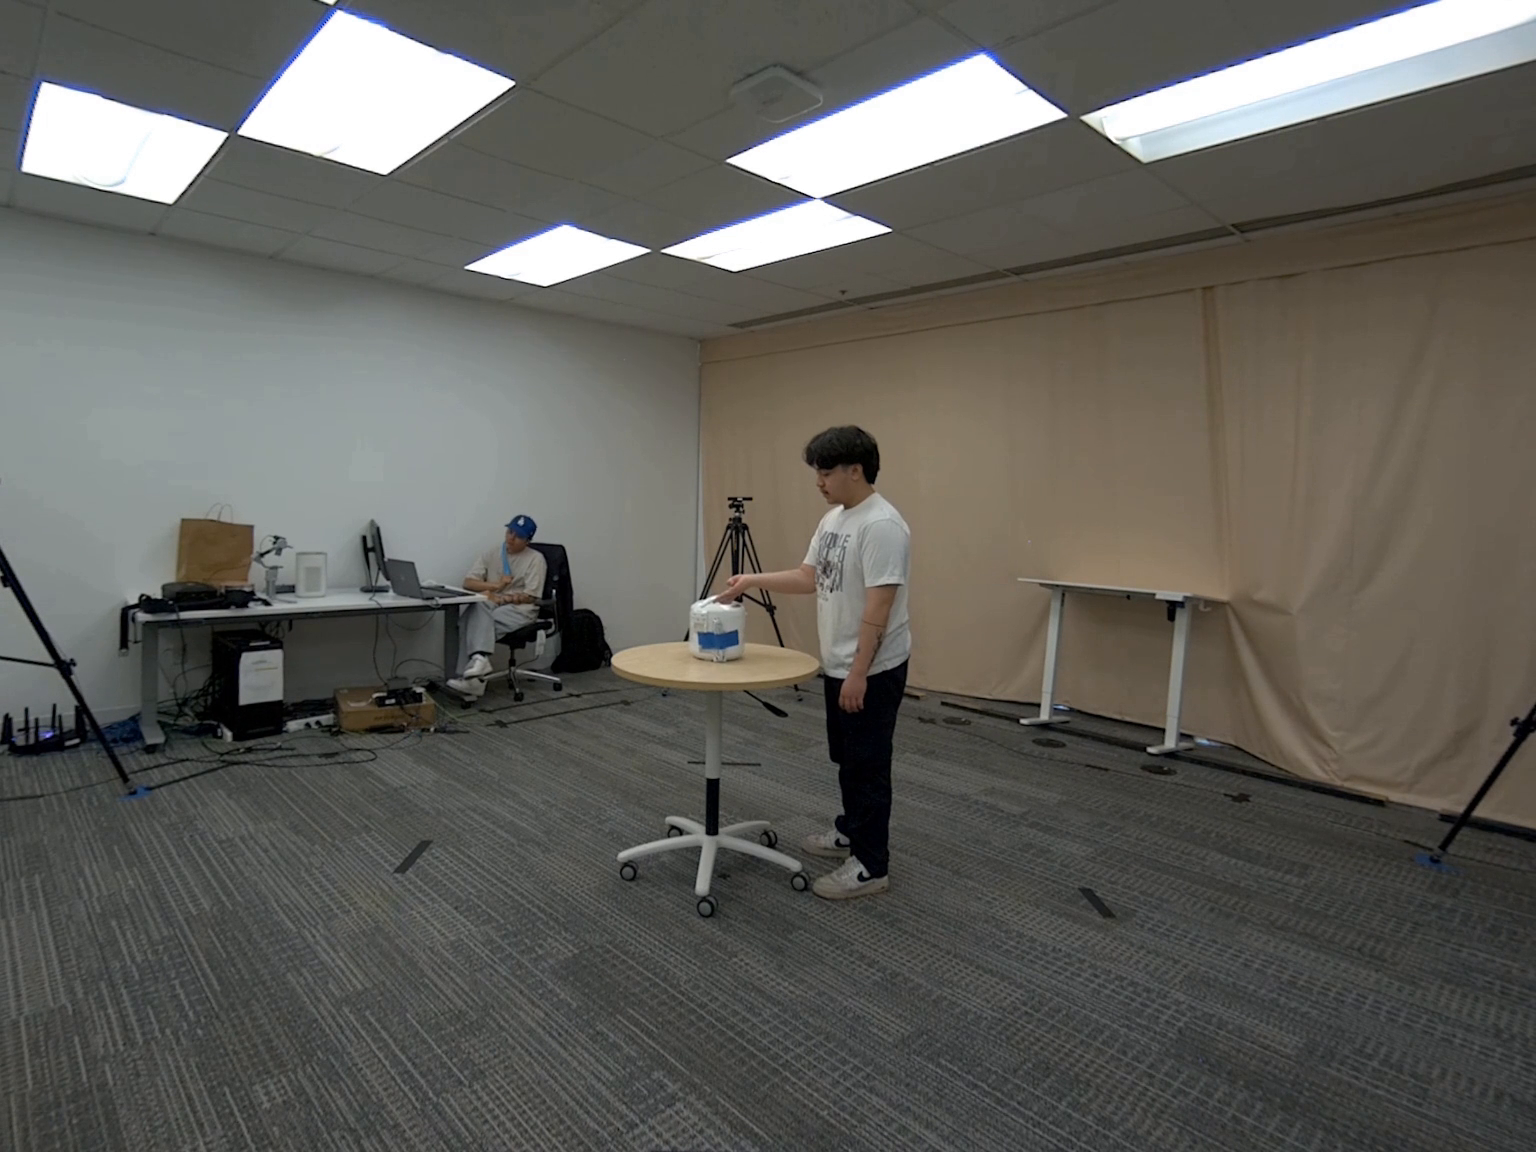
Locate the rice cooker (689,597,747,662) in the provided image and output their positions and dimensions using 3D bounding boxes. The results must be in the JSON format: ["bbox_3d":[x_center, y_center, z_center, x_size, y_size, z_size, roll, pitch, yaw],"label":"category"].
[{"bbox_3d":[-0.198,0.184,3.149,0.223,0.232,0.216,6,7,38],"label":"rice cooker"}]
